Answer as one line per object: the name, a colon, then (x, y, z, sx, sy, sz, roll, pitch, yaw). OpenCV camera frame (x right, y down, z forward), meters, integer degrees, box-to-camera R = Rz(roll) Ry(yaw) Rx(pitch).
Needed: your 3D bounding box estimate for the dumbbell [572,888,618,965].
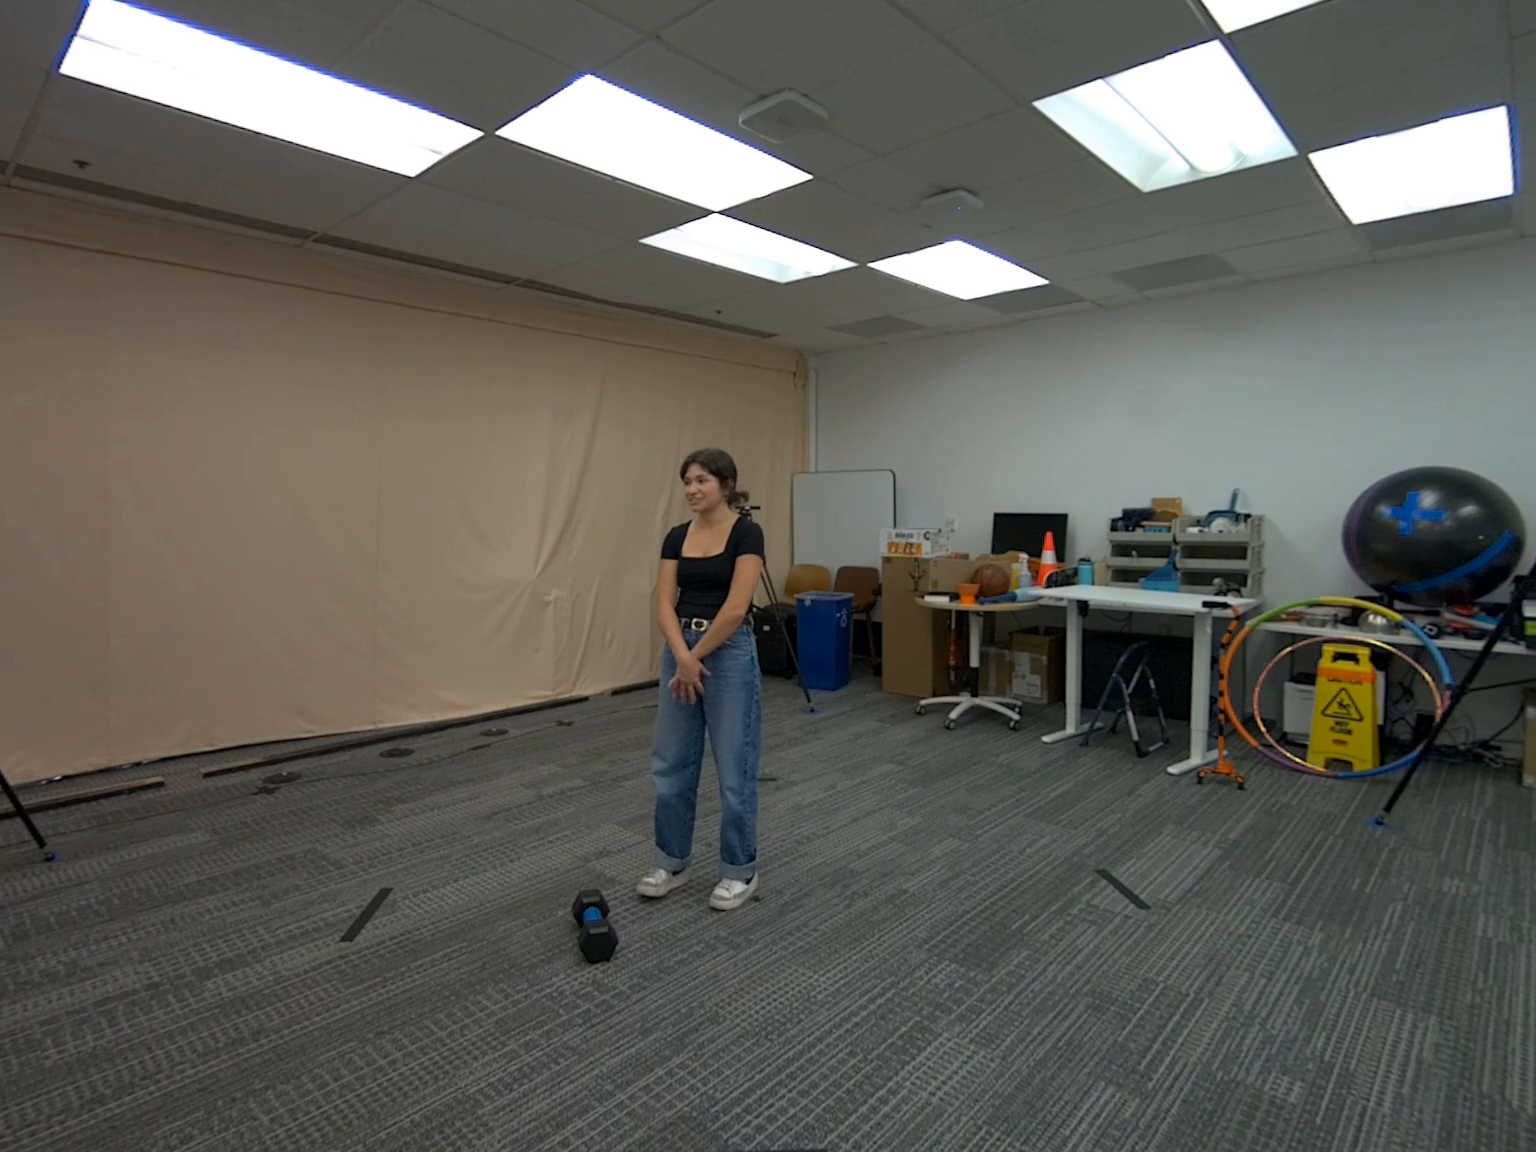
dumbbell: (-0.558, 1.120, 2.696, 0.108, 0.121, 0.299, -32, 13, -13)
